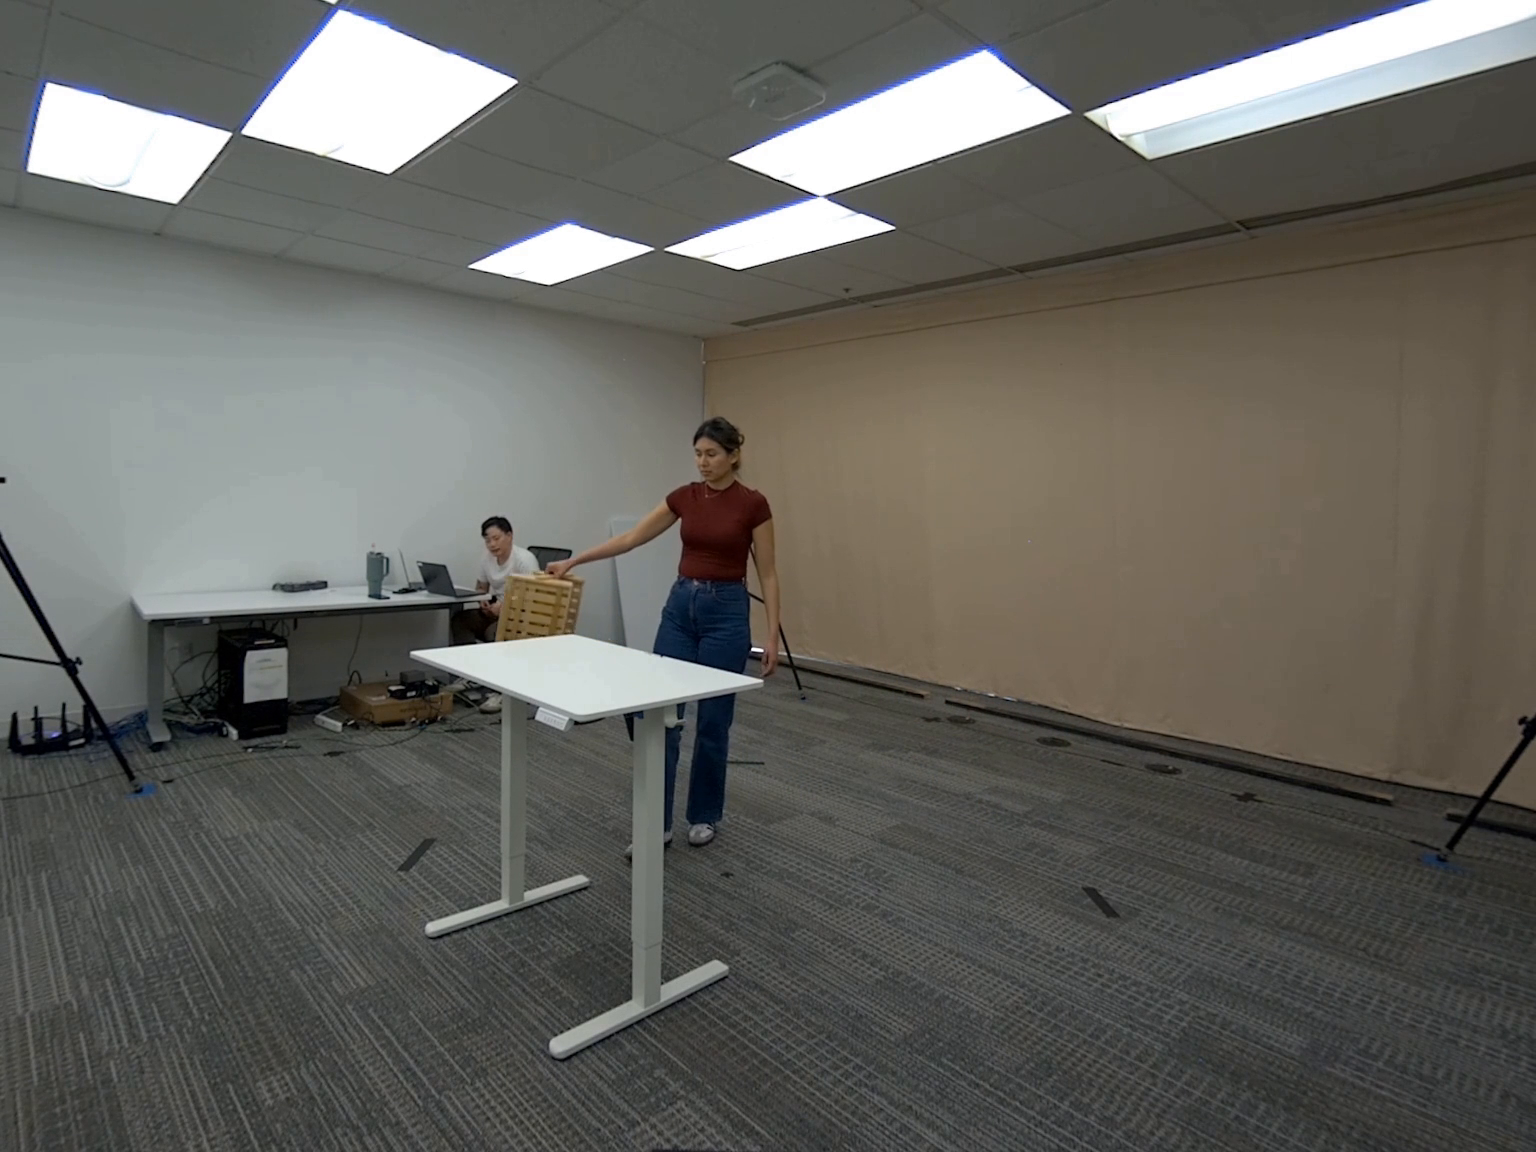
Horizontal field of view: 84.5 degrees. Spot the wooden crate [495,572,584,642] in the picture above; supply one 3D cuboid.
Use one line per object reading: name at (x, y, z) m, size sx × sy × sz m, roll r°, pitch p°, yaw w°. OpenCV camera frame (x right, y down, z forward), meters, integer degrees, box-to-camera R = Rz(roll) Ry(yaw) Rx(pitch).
wooden crate at (-0.917, 0.146, 3.376) m, size 0.299 × 0.323 × 0.277 m, roll 10°, pitch 6°, yaw -11°
